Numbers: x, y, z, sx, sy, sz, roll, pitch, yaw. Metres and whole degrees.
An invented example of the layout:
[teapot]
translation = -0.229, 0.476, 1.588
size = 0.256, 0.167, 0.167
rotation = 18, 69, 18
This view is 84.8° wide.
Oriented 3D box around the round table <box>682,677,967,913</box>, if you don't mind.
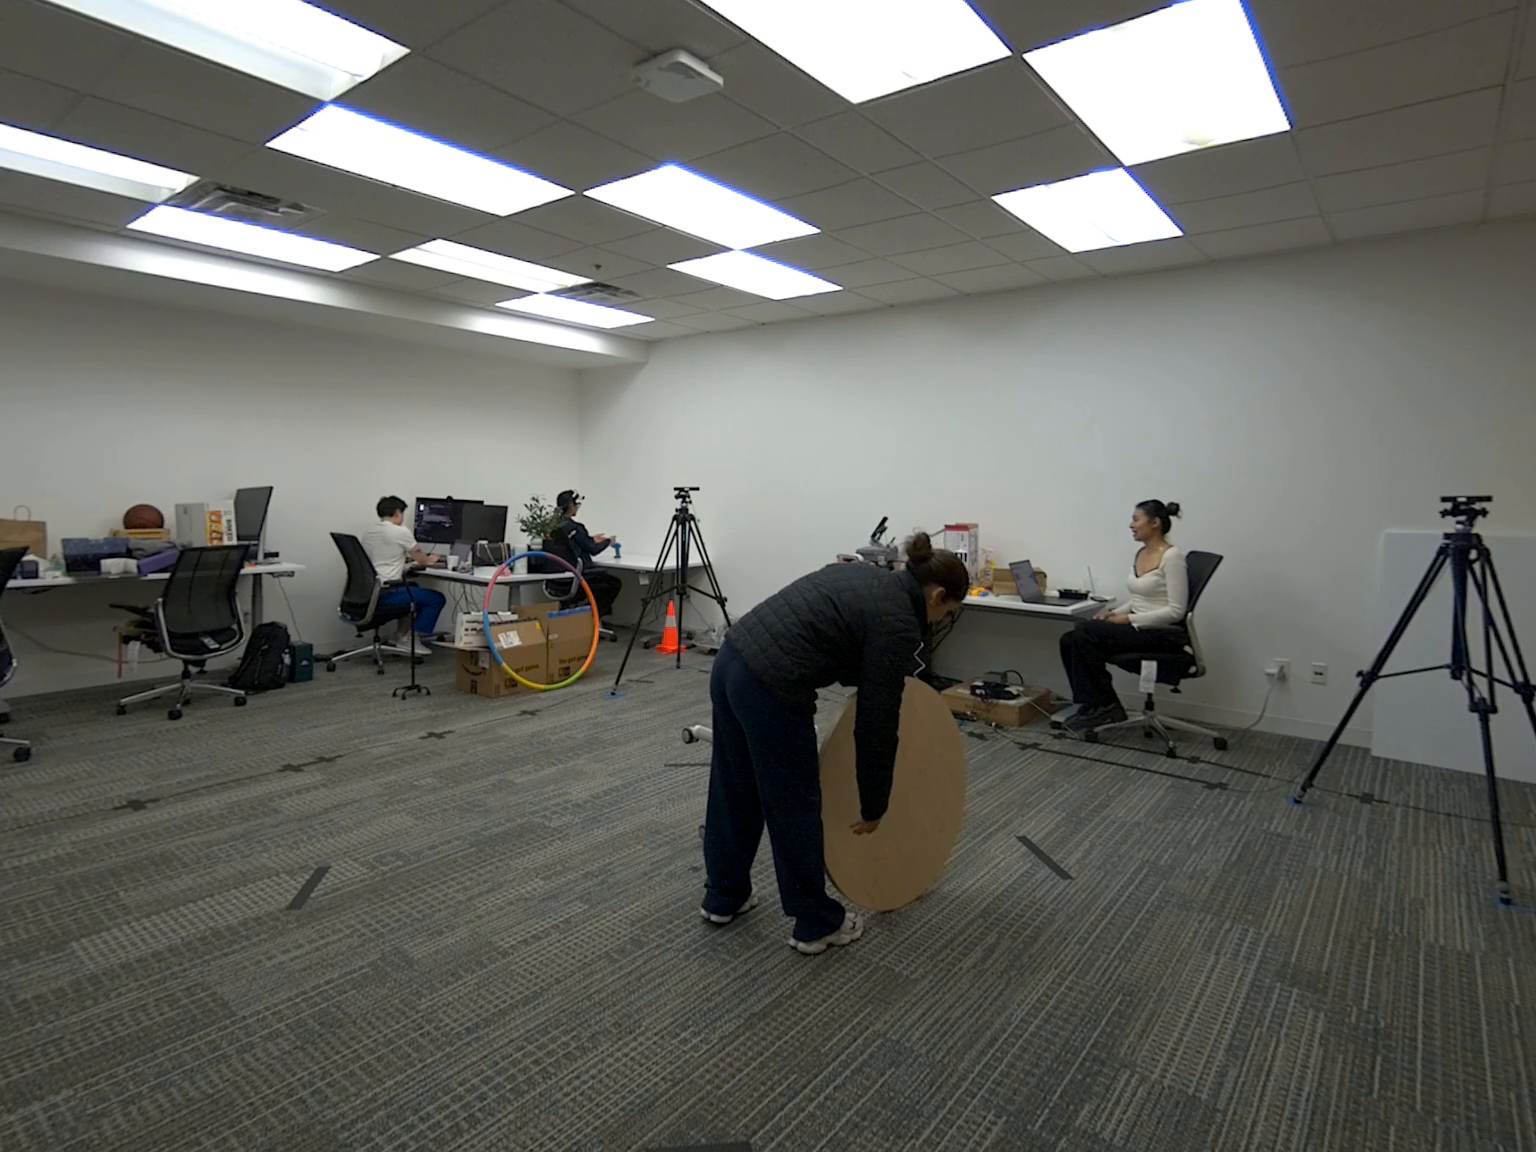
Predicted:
[round table]
translation = 0.191, 0.723, 3.176
size = 0.761, 0.786, 0.810
rotation = -3, 0, -40
